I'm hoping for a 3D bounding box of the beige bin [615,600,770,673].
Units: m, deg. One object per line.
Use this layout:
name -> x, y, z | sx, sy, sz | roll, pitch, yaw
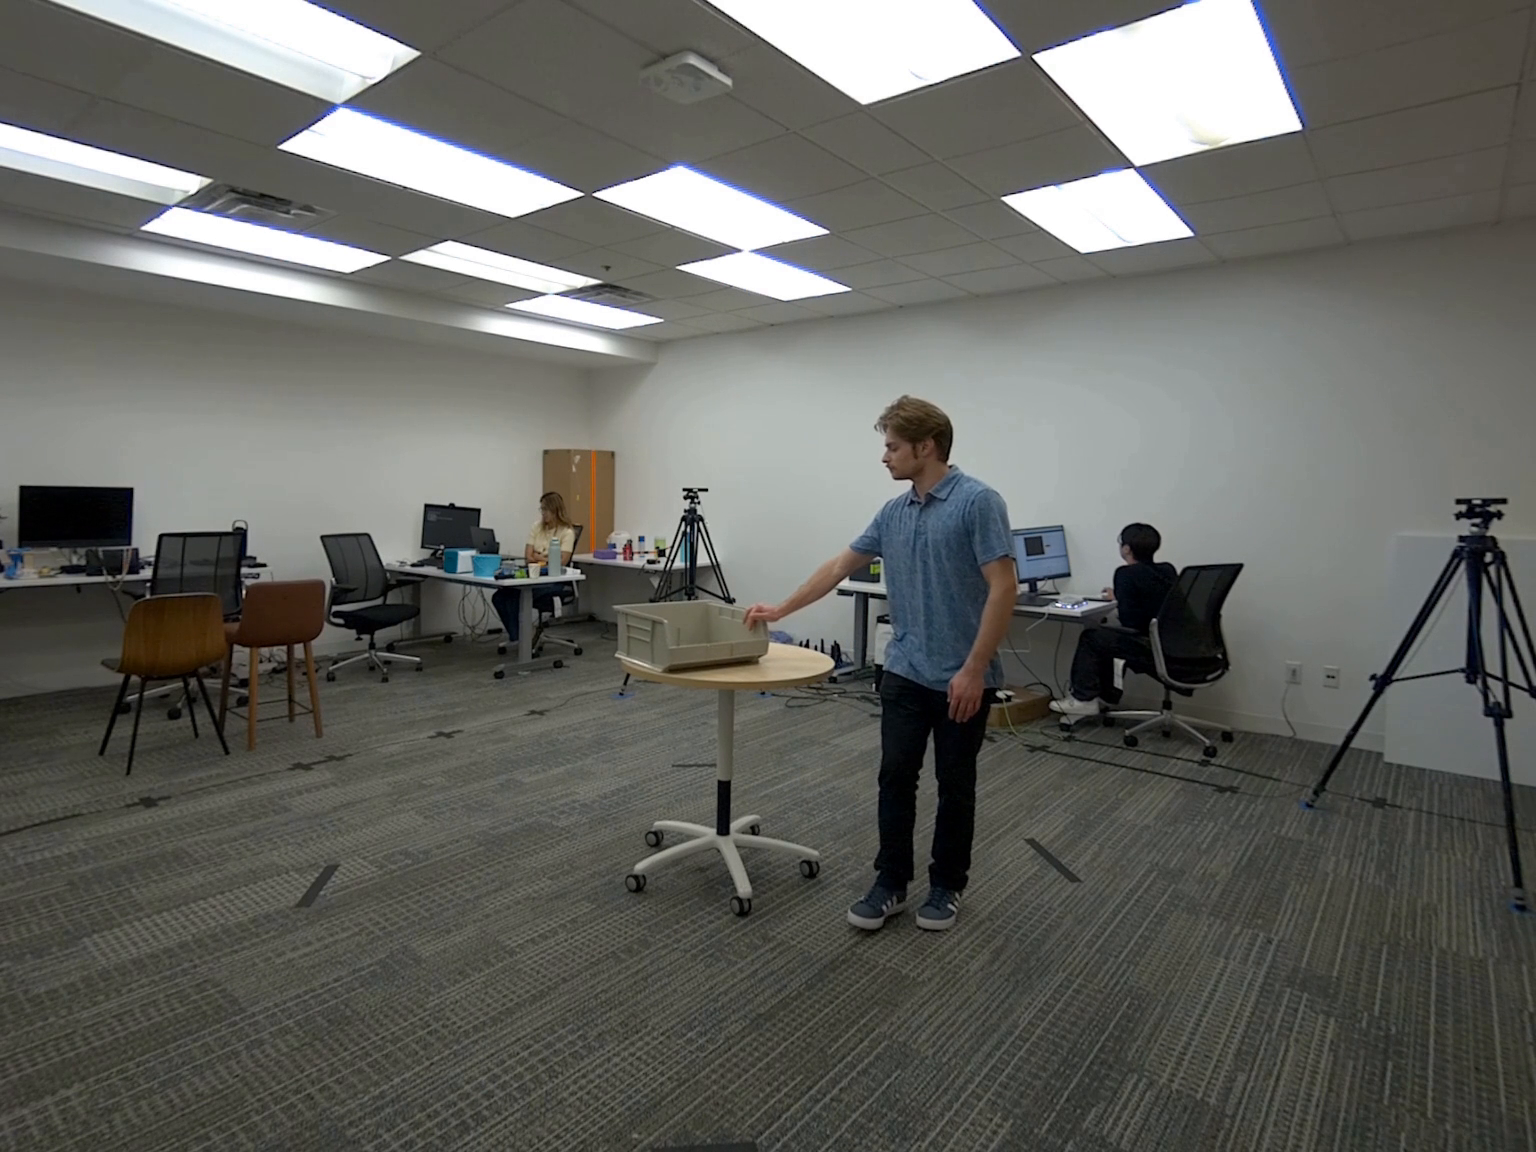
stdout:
beige bin -> -0.289, 0.200, 3.002 | 0.410, 0.188, 0.389 | -2, 5, -36
